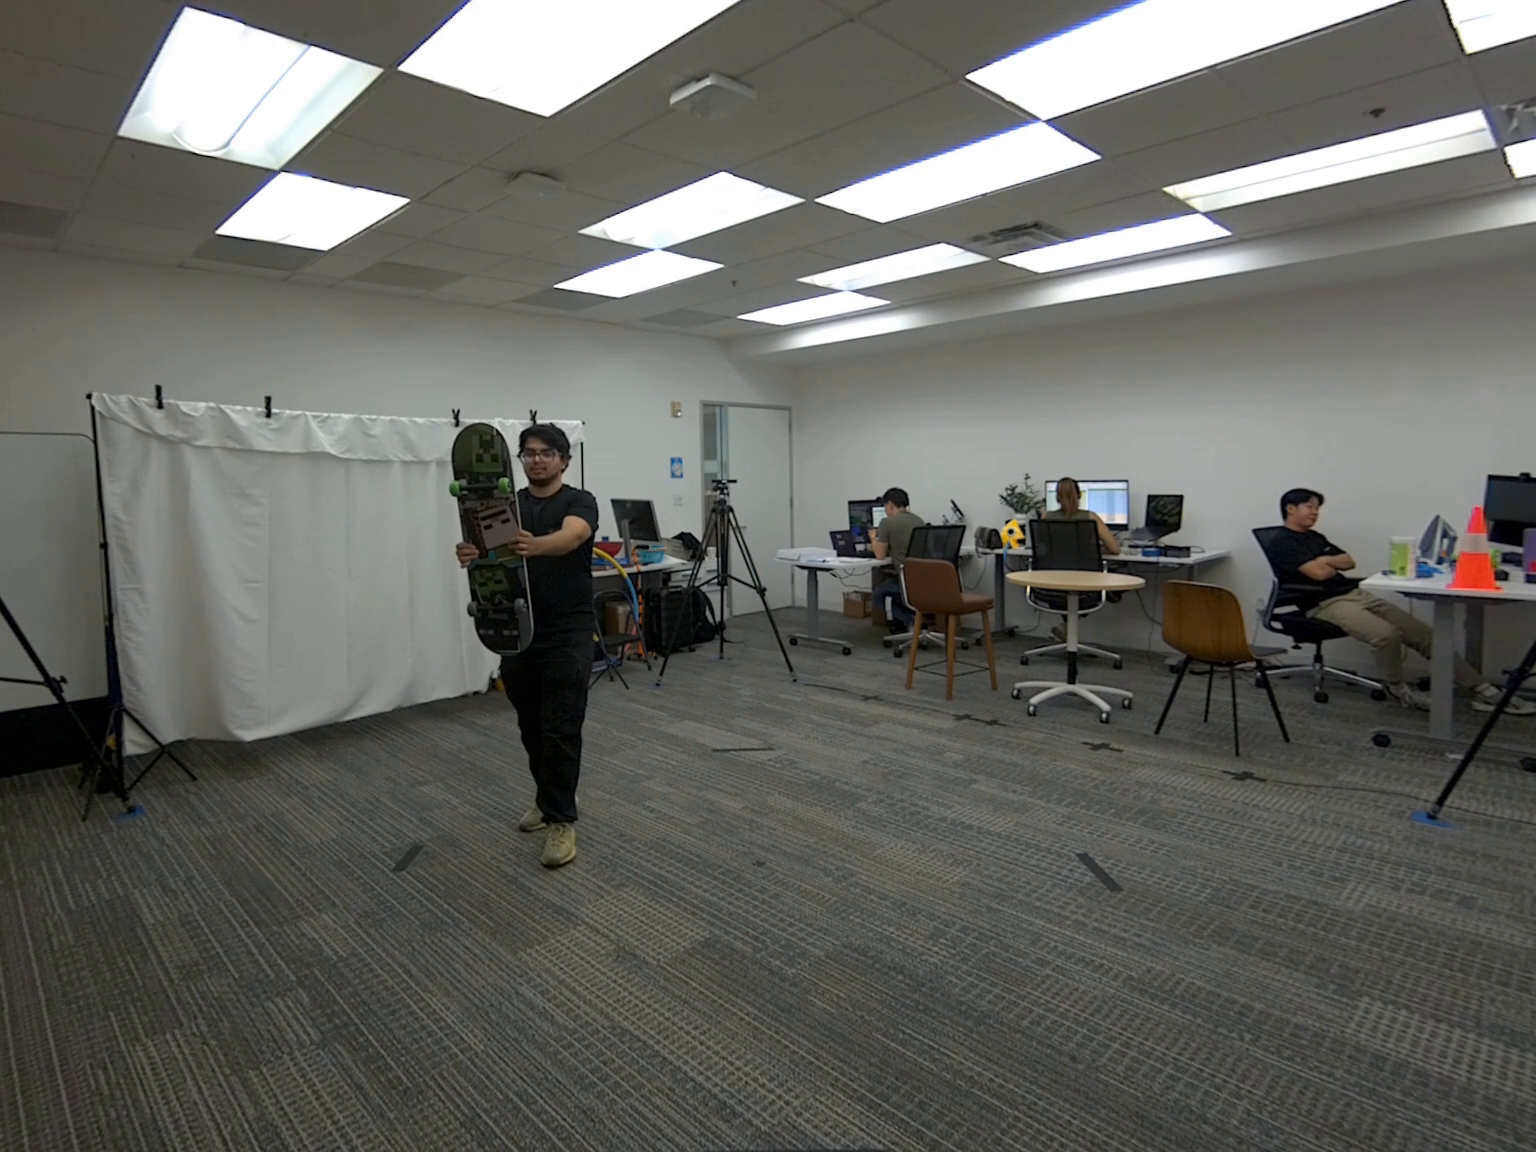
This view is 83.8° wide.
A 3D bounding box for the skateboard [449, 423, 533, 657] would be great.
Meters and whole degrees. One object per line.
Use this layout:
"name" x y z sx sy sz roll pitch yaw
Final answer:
"skateboard" -0.895 -0.095 2.762 0.194 0.775 0.111 -2 14 2
